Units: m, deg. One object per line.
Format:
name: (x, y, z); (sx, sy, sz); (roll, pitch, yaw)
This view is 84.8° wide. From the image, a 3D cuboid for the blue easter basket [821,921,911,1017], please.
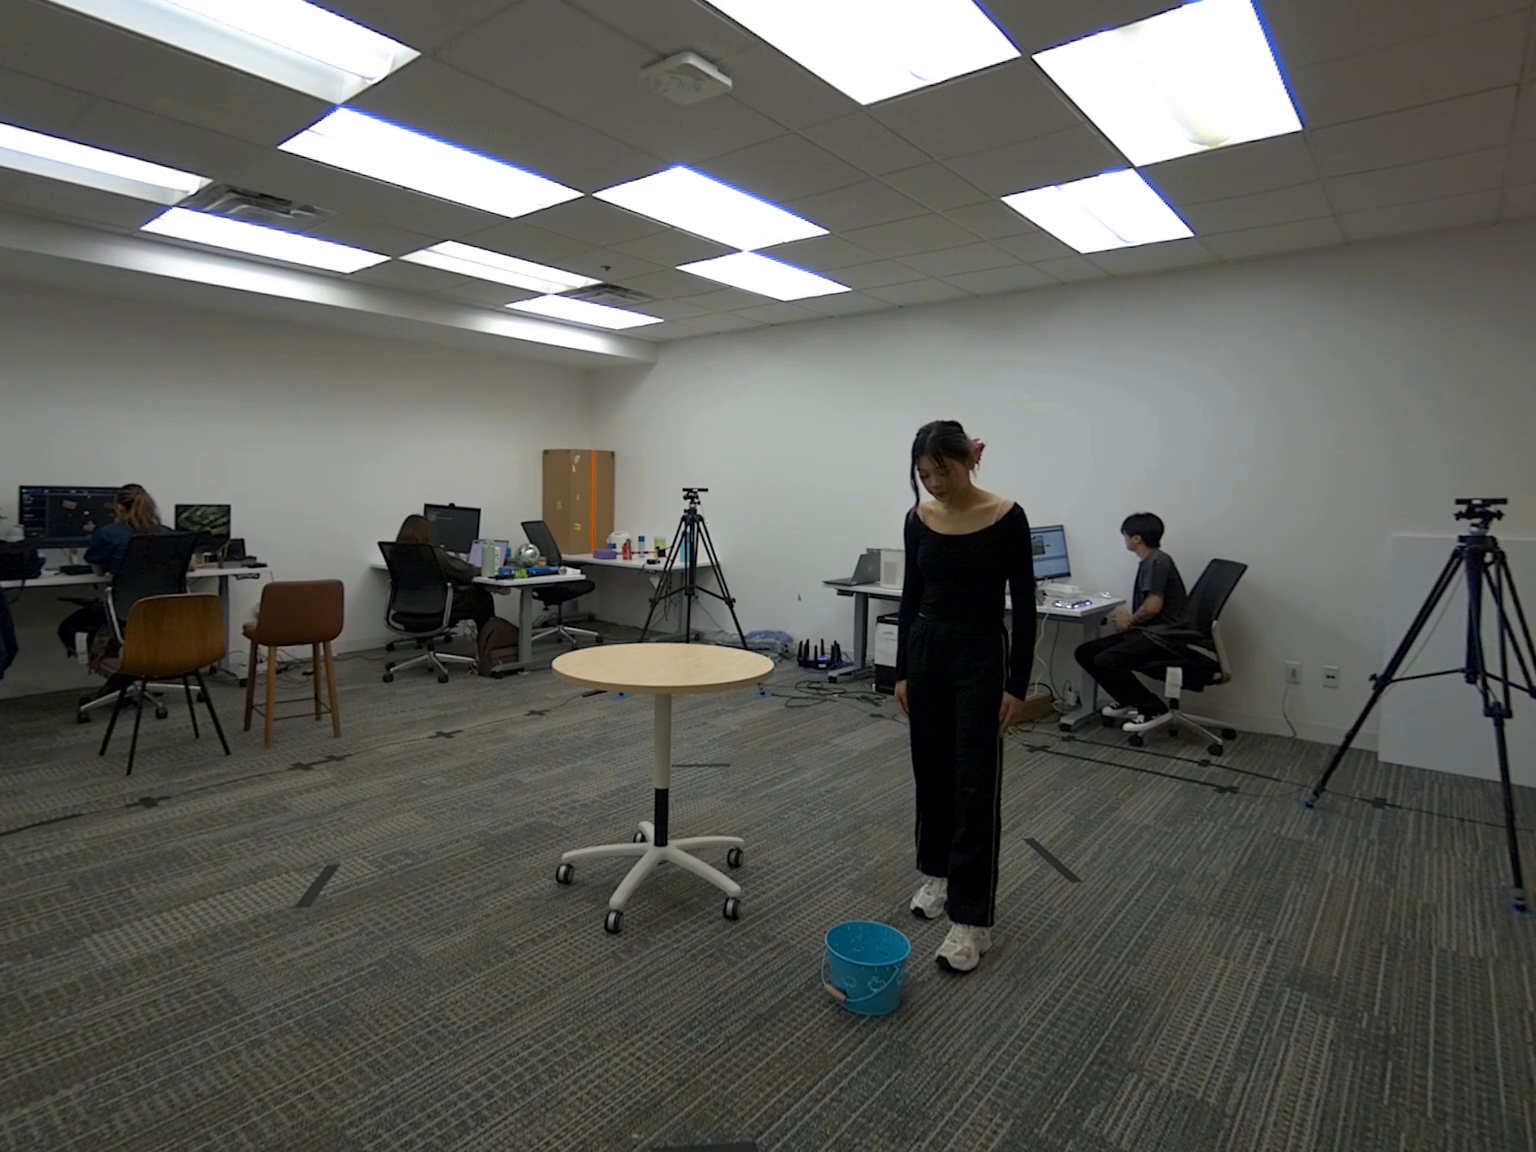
blue easter basket: (0.263, 1.077, 2.350); (0.243, 0.155, 0.244); (1, 4, -2)
